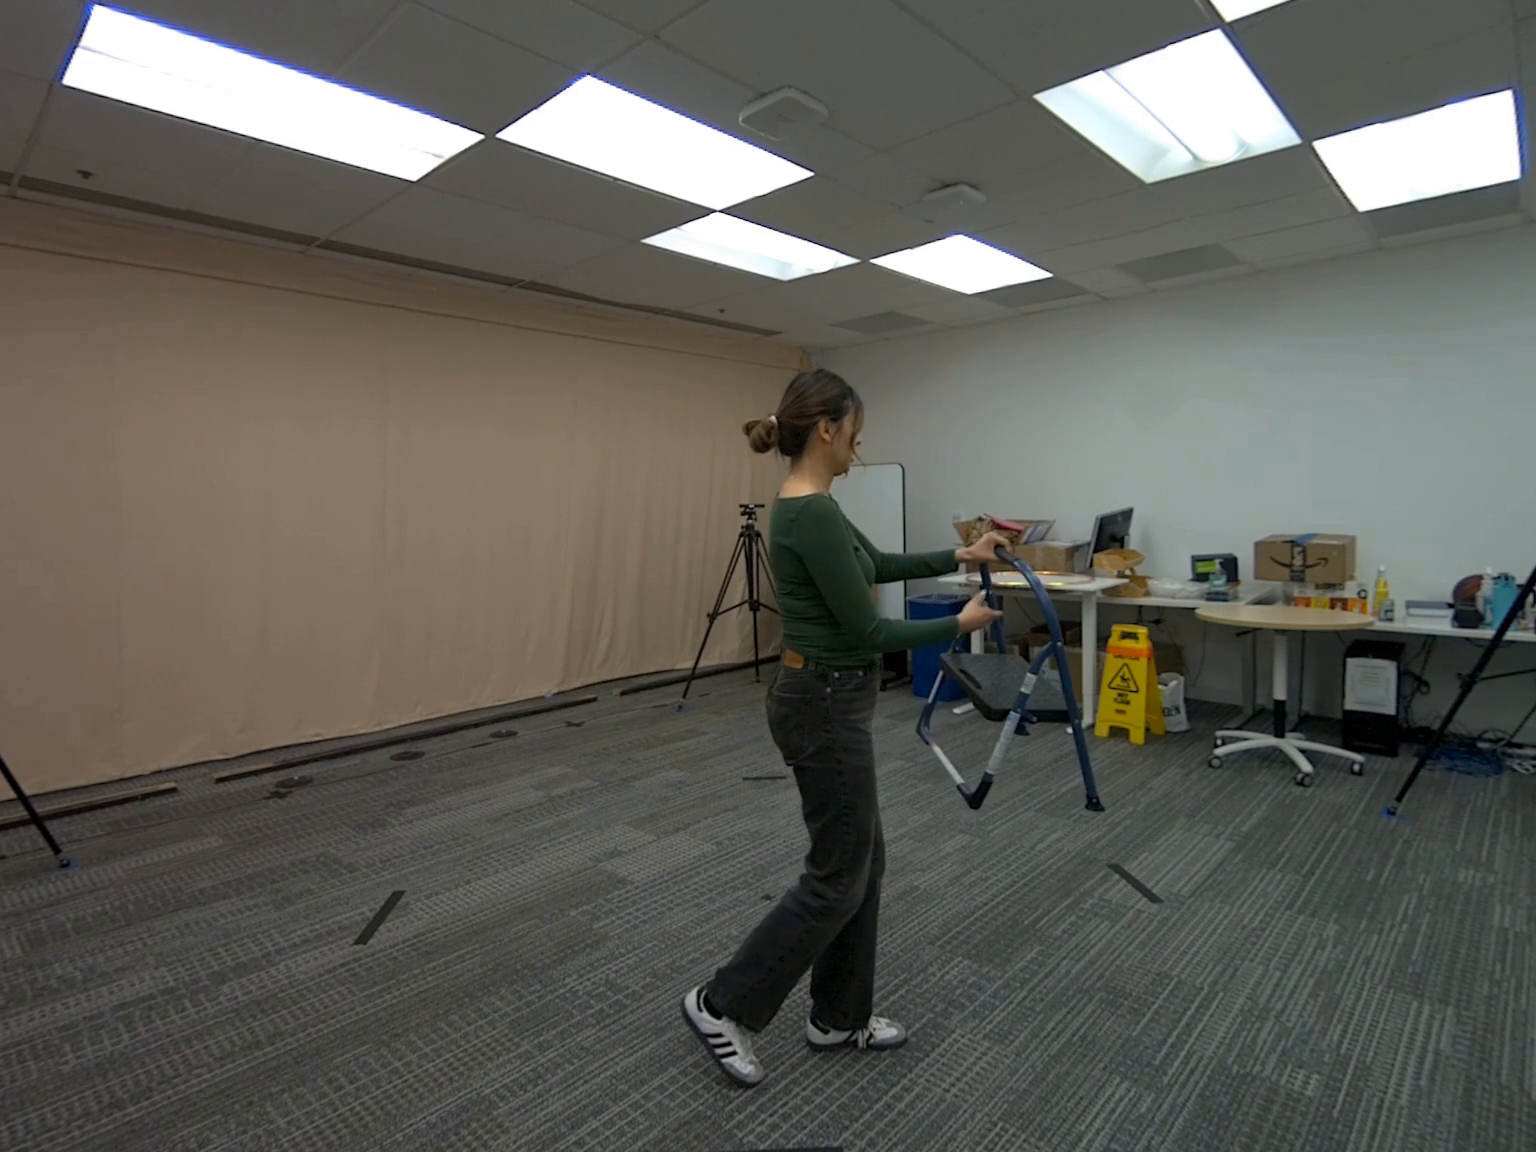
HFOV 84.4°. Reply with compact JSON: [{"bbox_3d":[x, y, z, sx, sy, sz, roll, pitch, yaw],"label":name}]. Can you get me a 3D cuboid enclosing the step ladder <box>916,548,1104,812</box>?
[{"bbox_3d":[0.651,0.233,2.203,0.346,0.601,0.438,1,15,-9],"label":"step ladder"}]
